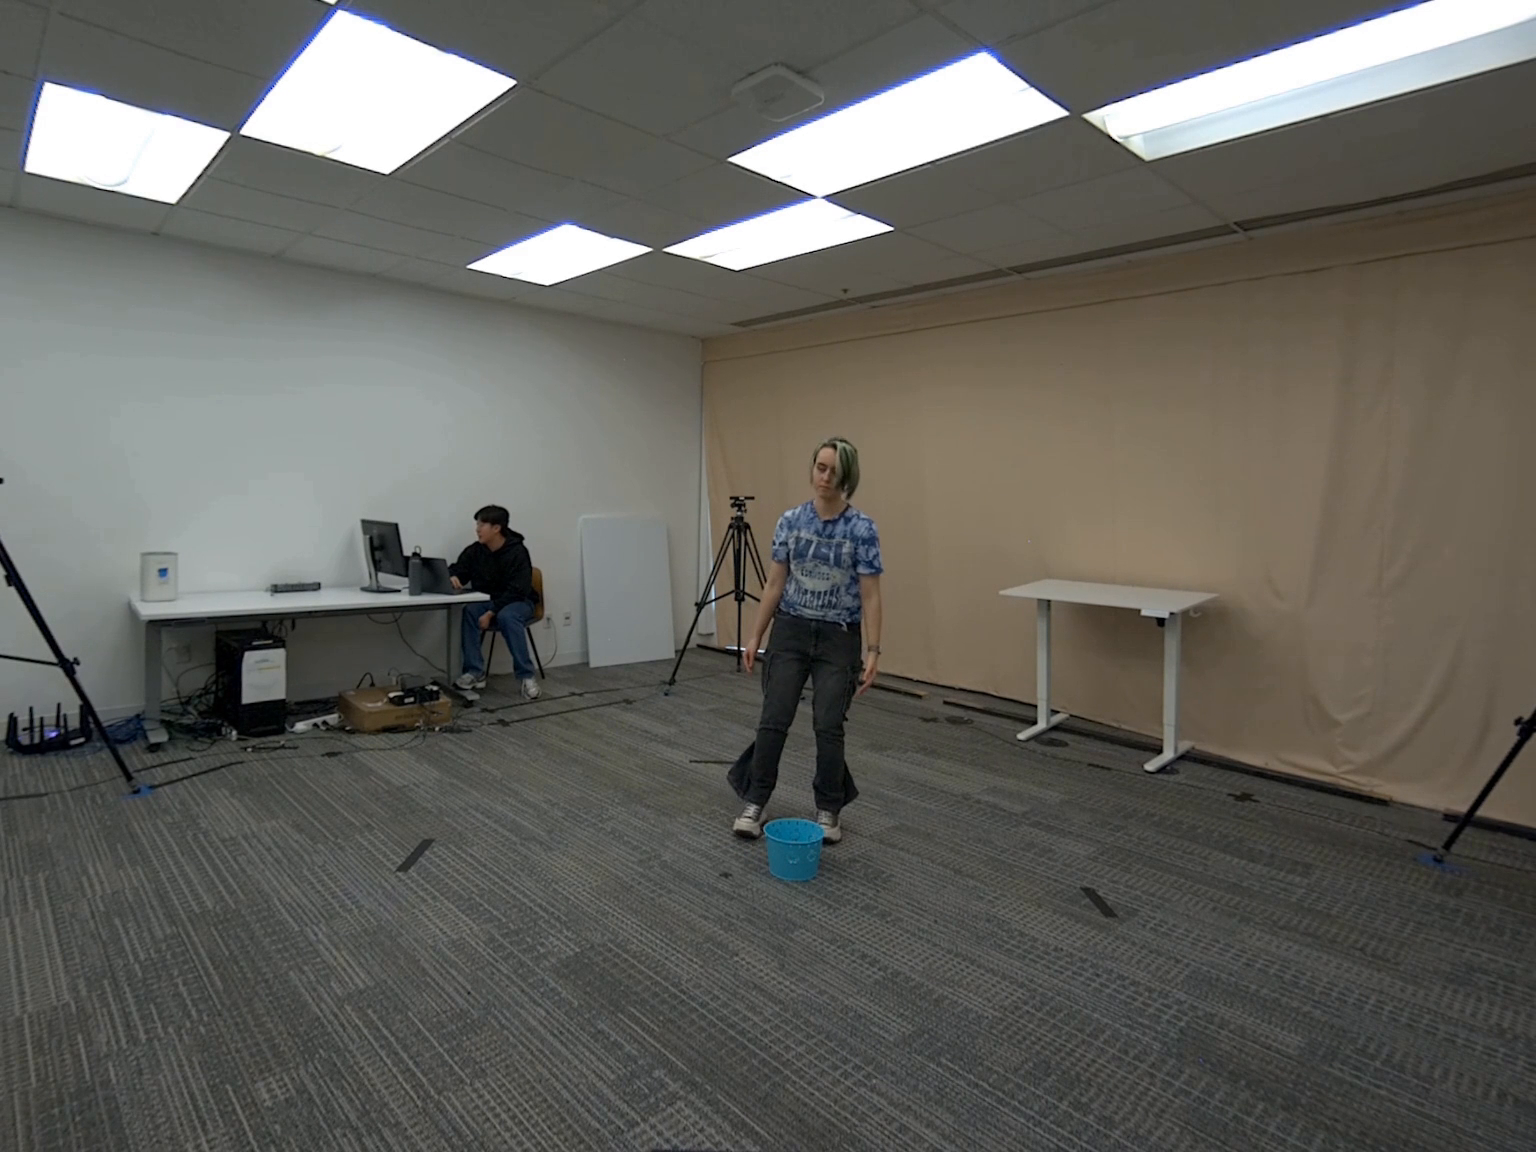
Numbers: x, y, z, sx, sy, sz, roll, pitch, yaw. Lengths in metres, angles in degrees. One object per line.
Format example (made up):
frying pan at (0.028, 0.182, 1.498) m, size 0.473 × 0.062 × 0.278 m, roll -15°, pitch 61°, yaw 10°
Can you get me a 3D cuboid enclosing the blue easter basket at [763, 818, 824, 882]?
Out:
blue easter basket at (0.092, 1.022, 3.155) m, size 0.243 × 0.155 × 0.244 m, roll 1°, pitch 5°, yaw -1°
